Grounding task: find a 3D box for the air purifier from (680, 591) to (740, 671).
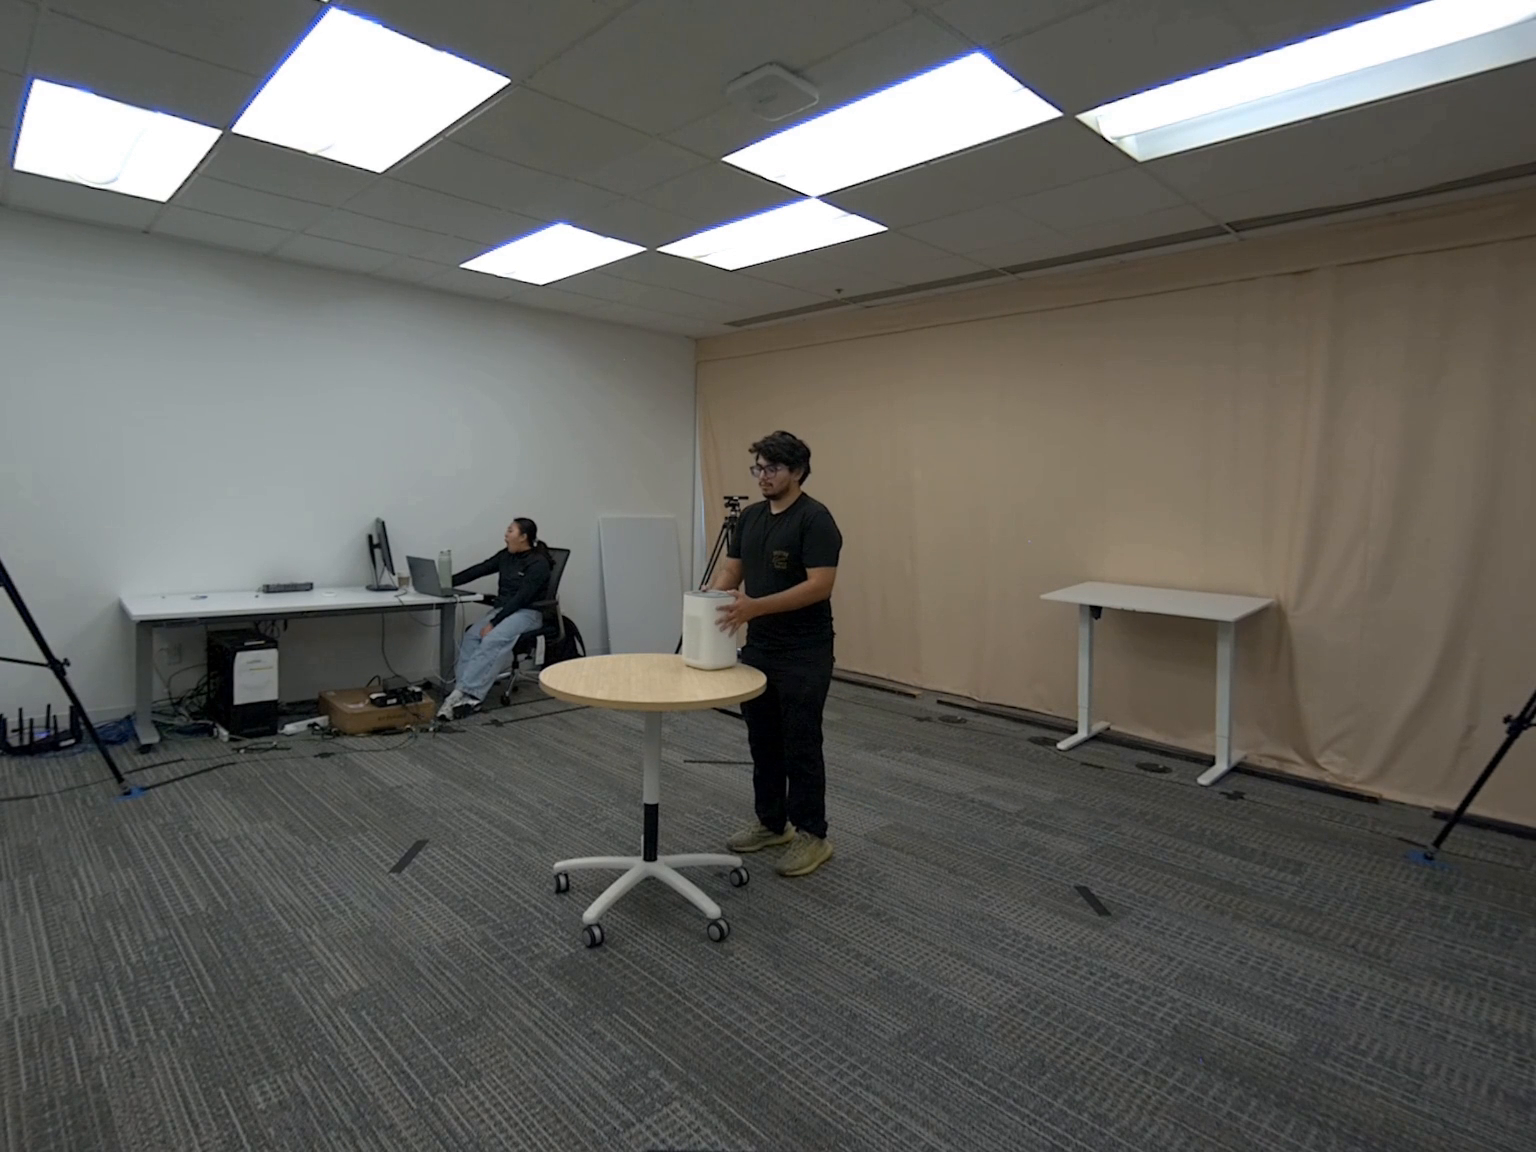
[{"bbox_3d":[-0.211,0.194,3.028,0.176,0.265,0.167,5,4,44],"label":"air purifier"}]
